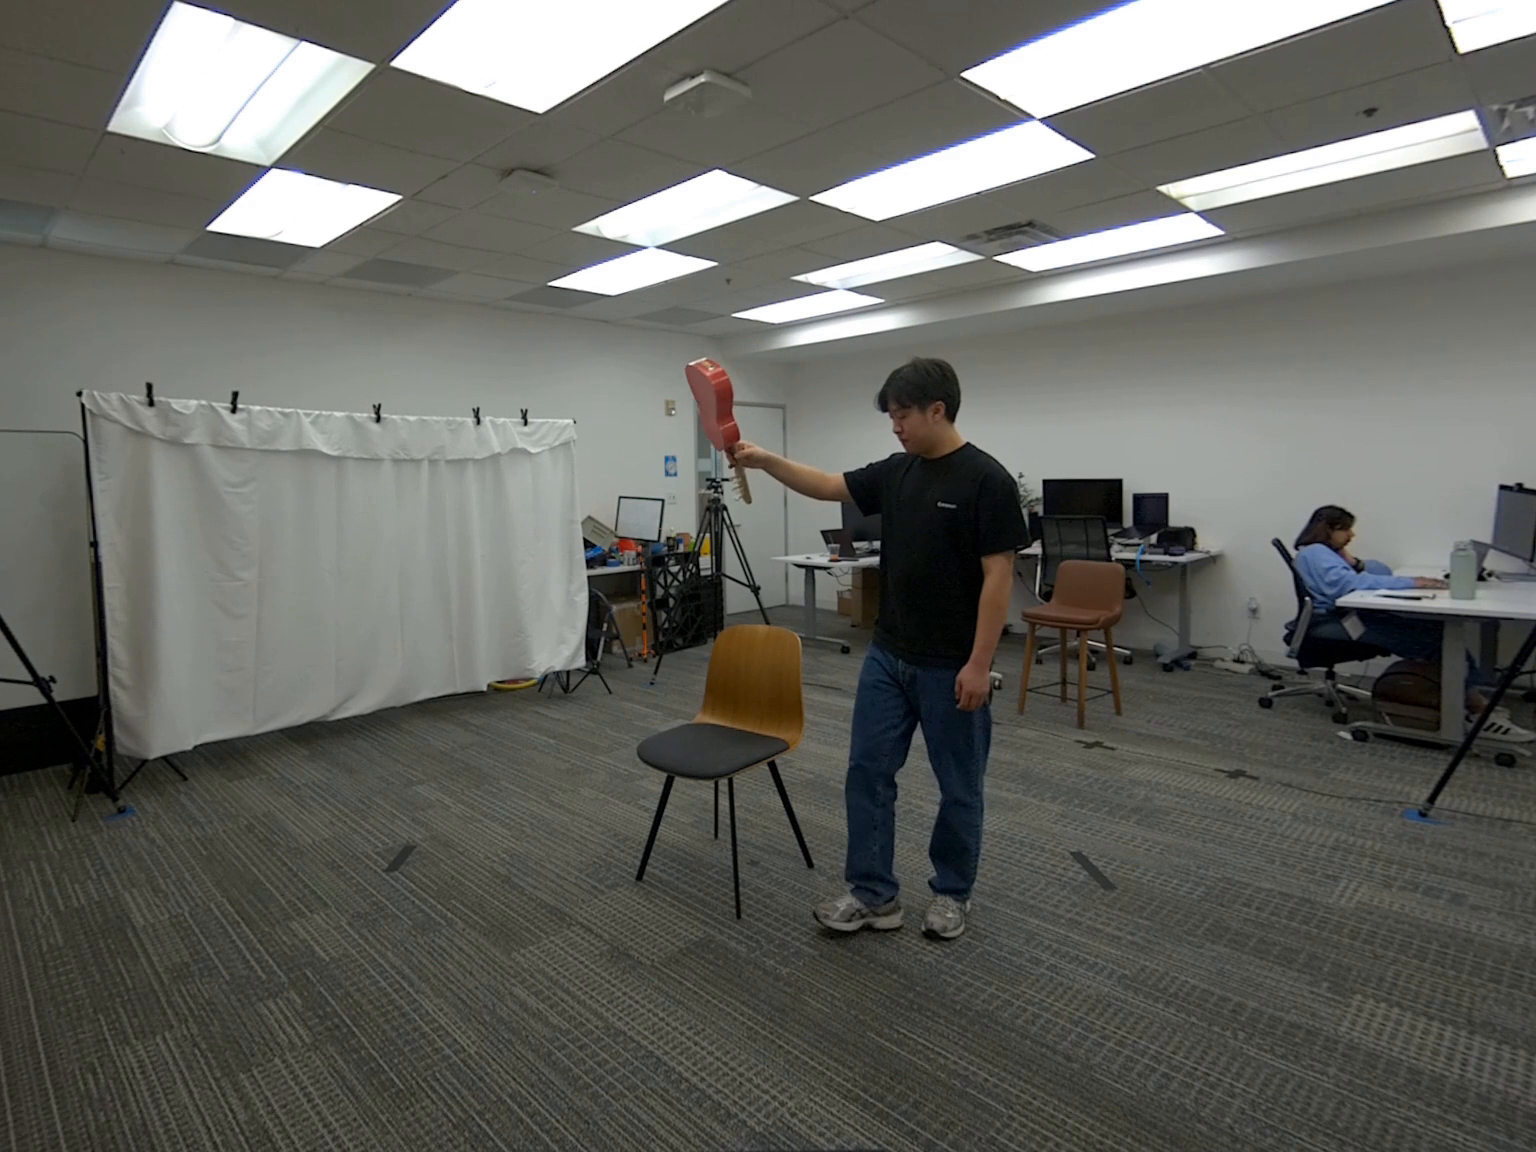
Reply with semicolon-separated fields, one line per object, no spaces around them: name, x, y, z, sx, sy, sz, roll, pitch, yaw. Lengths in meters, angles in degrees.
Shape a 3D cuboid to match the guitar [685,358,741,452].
guitar;-0.122;-0.416;2.593;0.070;0.485;0.199;-25;26;-17
